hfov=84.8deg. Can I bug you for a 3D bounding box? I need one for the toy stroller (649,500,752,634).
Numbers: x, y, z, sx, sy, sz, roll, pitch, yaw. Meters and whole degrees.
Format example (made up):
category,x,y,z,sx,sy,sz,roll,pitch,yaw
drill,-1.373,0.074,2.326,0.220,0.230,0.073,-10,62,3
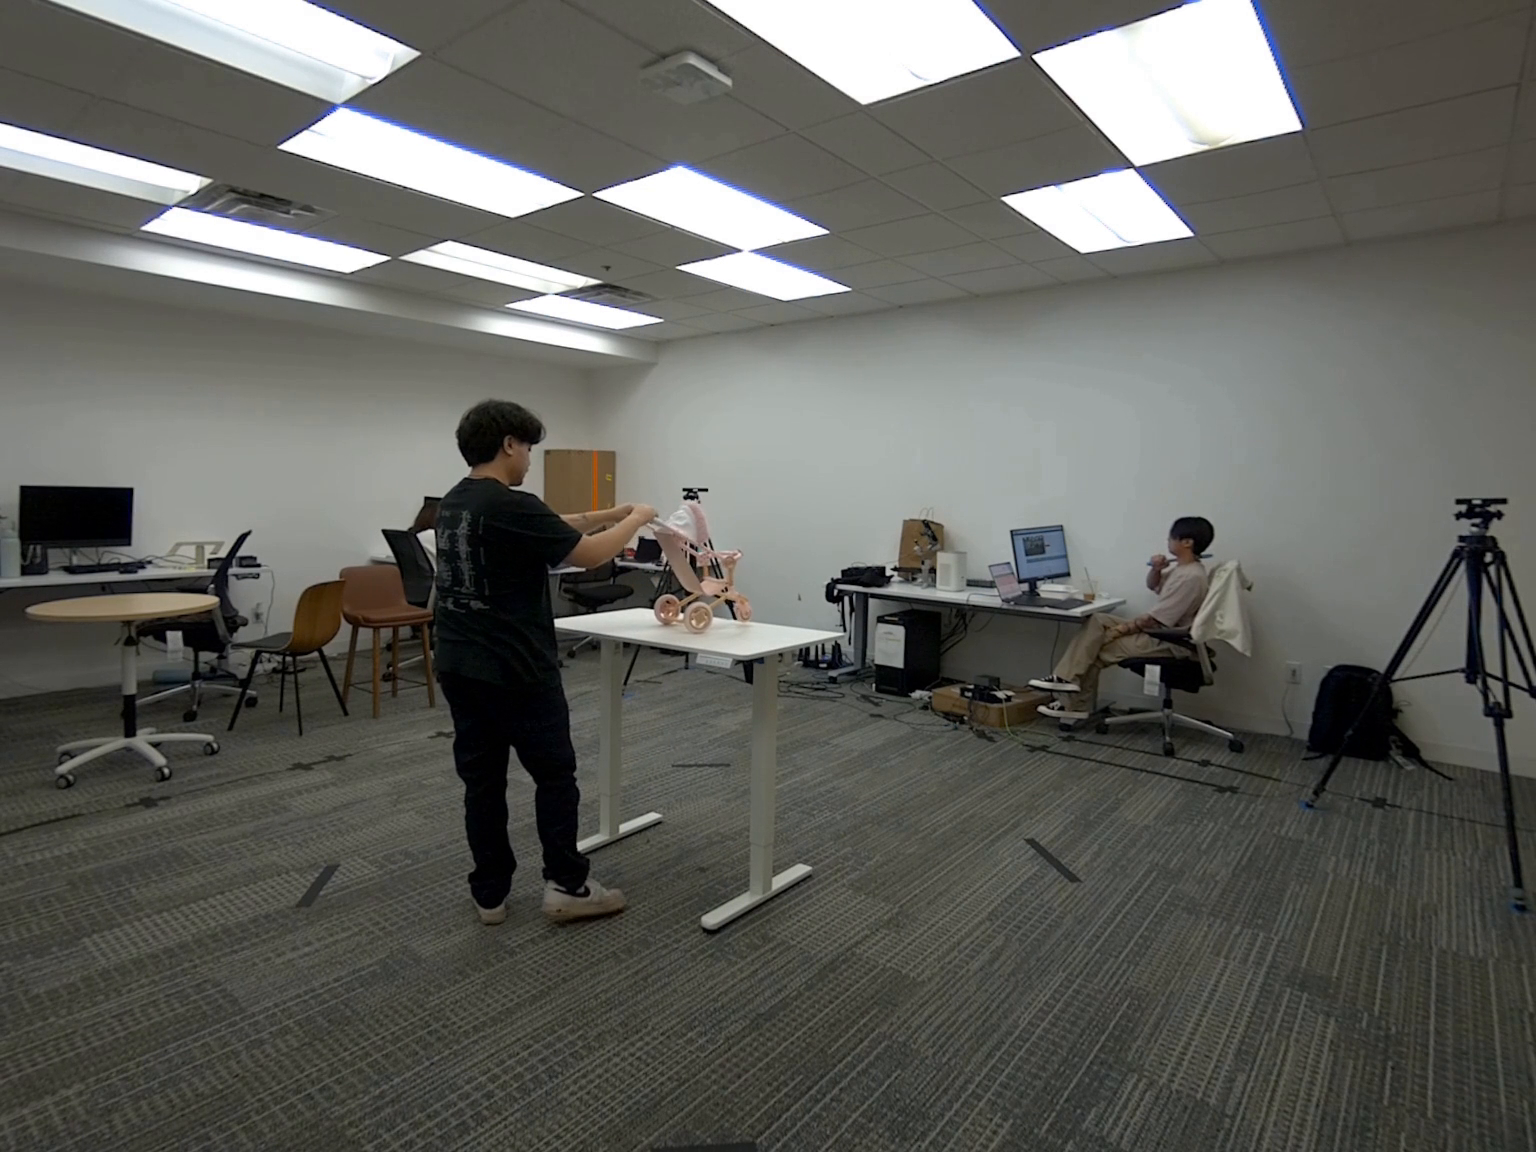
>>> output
category,x,y,z,sx,sy,sz,roll,pitch,yaw
toy stroller,-0.276,-0.039,3.087,0.336,0.529,0.289,-19,11,-24
